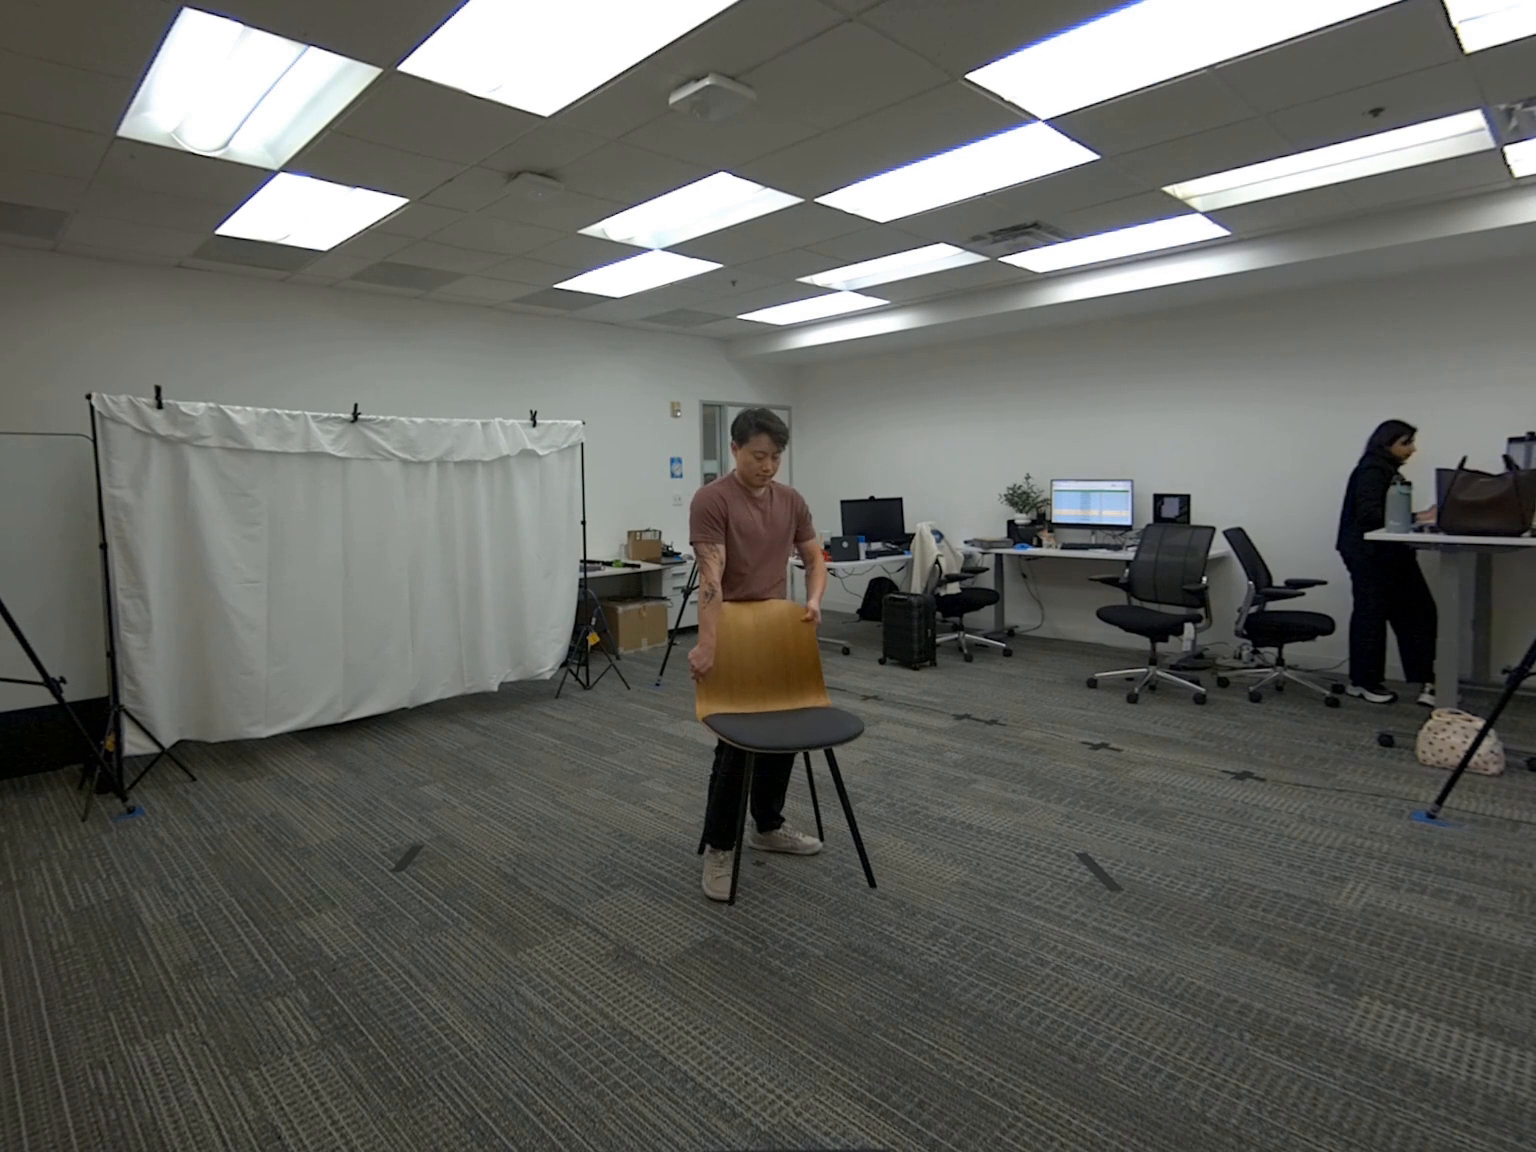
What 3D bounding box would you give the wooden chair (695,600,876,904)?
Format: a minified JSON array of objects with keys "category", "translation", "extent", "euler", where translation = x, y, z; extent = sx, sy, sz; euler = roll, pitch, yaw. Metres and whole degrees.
[{"category":"wooden chair","translation":[0.026,0.517,2.698],"extent":[0.471,0.883,0.527],"euler":[-1,-6,-15]}]
